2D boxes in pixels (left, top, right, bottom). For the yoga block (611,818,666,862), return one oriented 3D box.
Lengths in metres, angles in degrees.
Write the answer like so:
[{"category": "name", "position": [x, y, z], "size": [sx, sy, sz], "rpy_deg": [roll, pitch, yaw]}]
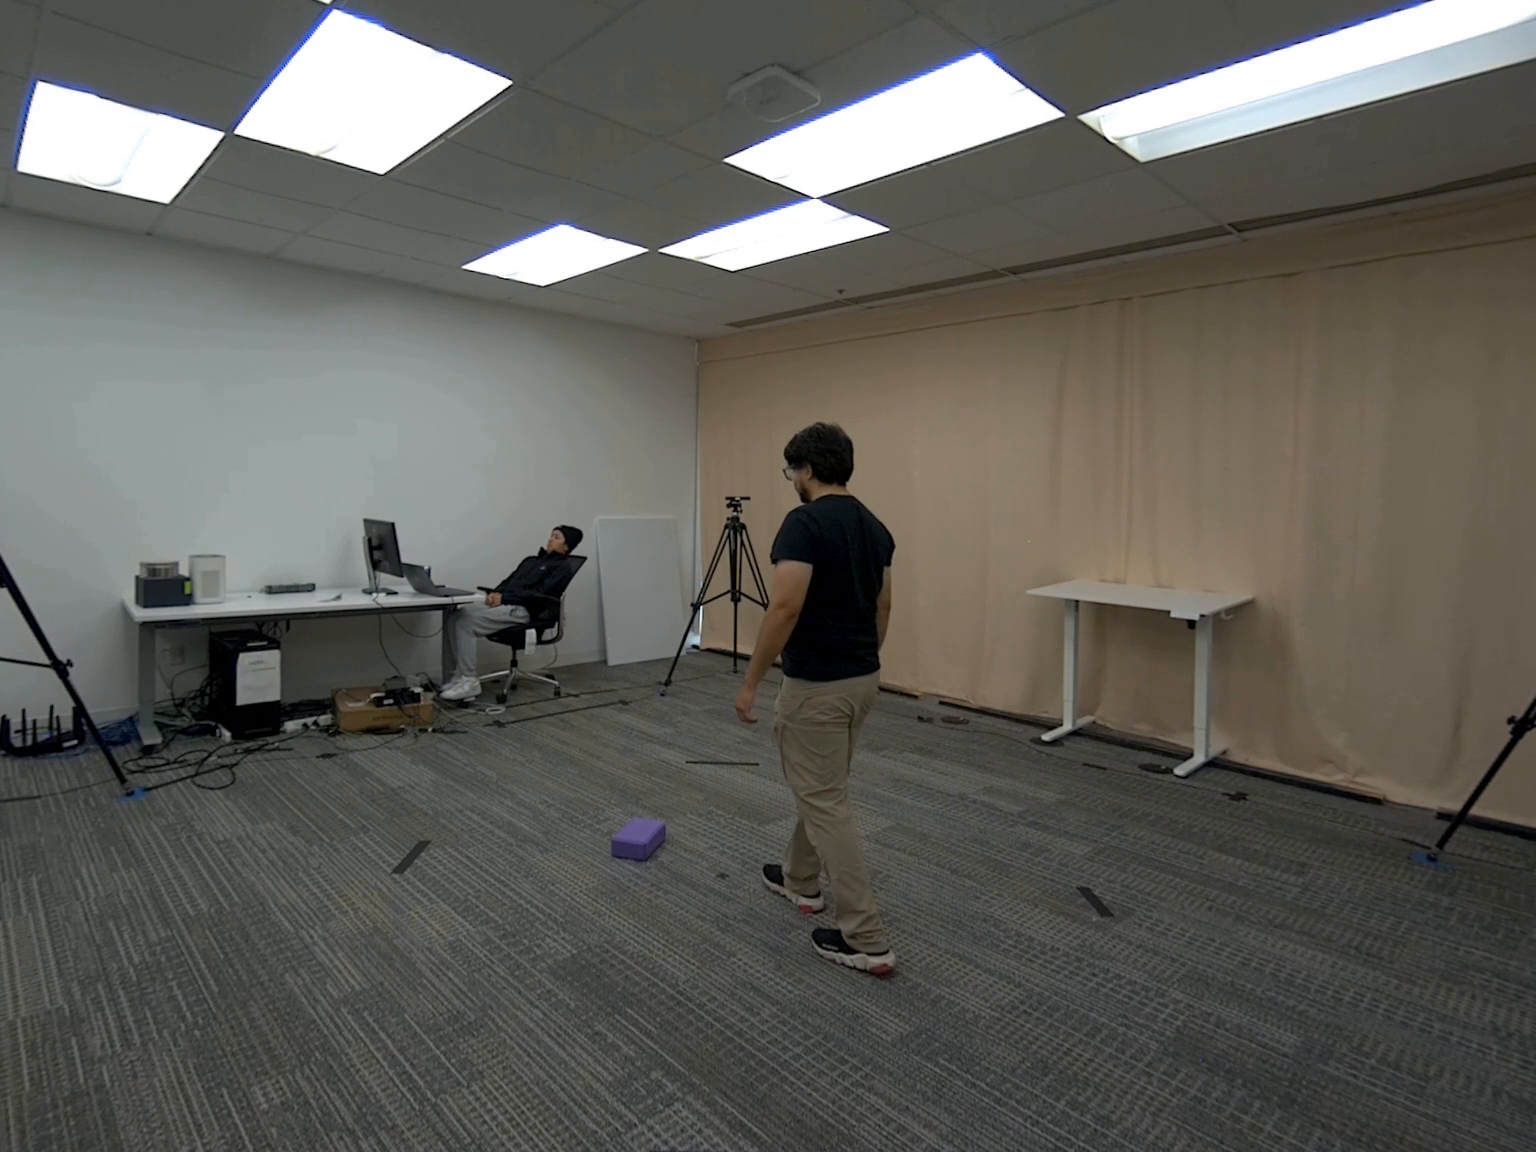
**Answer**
[{"category": "yoga block", "position": [-0.518, 1.036, 3.328], "size": [0.151, 0.076, 0.227], "rpy_deg": [4, 4, 14]}]
